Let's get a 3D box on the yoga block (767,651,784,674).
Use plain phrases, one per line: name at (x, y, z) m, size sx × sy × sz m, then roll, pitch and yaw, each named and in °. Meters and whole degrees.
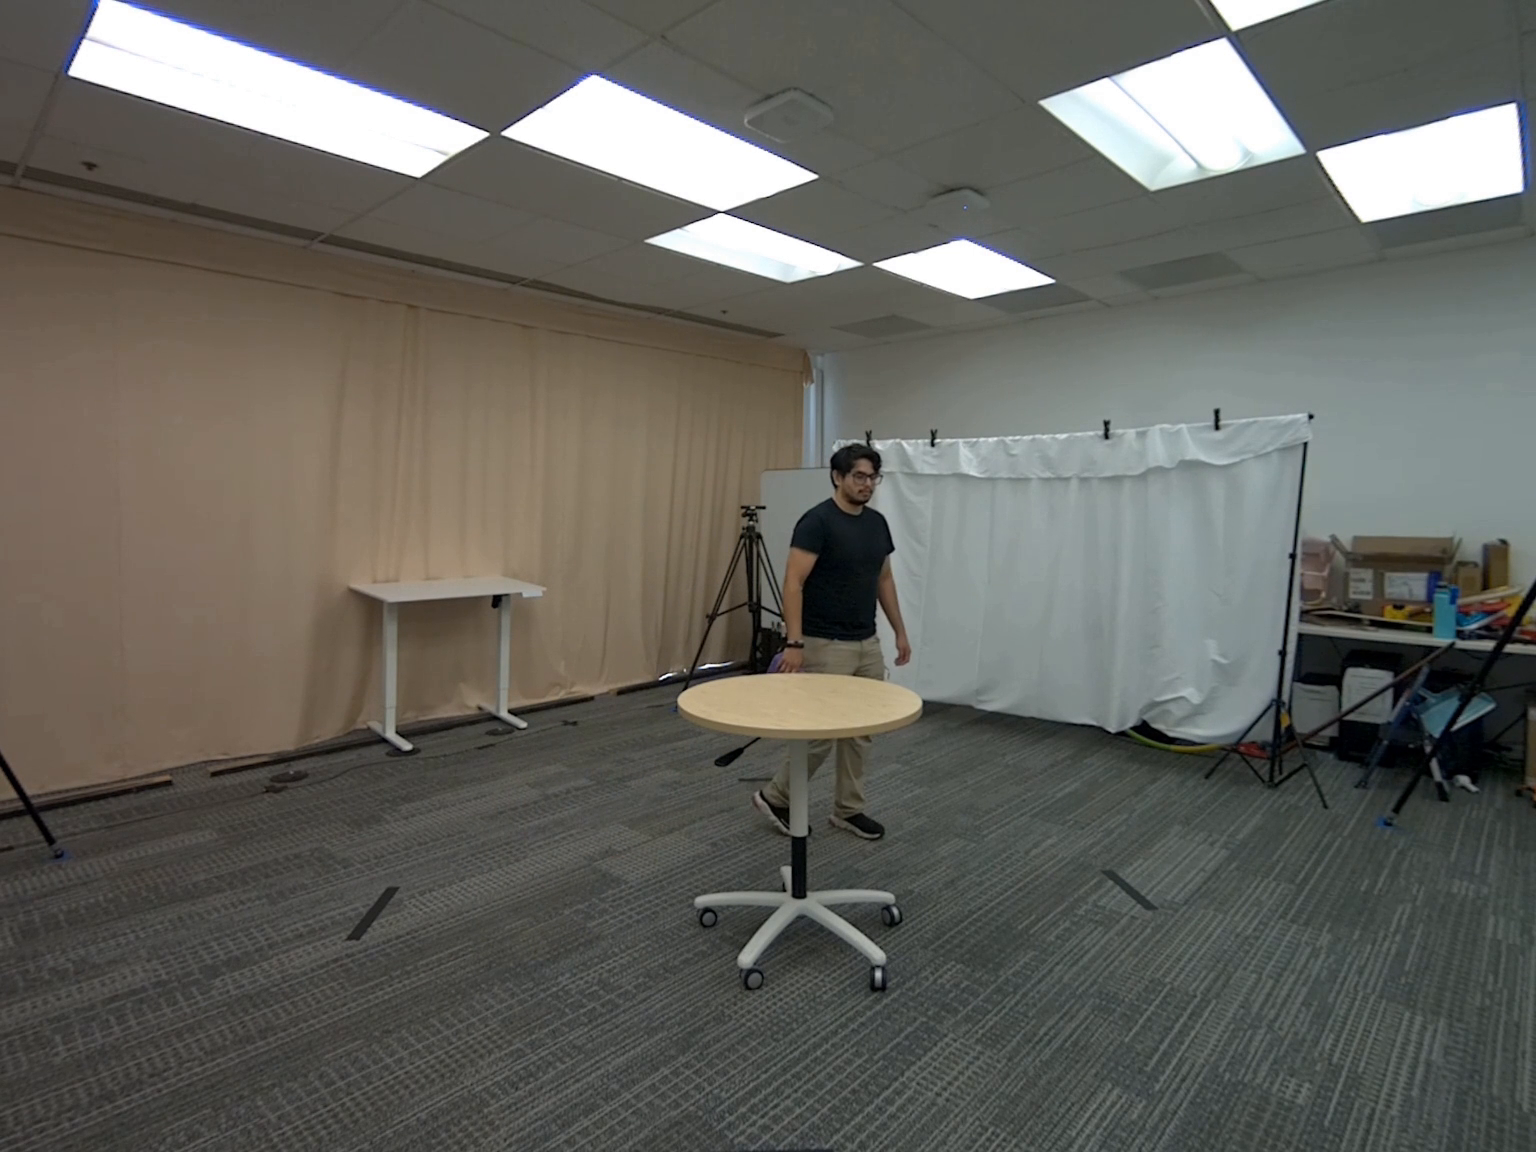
yoga block at (0.098, 0.433, 3.407) m, size 0.075 × 0.148 × 0.236 m, roll -17°, pitch 56°, yaw -31°
